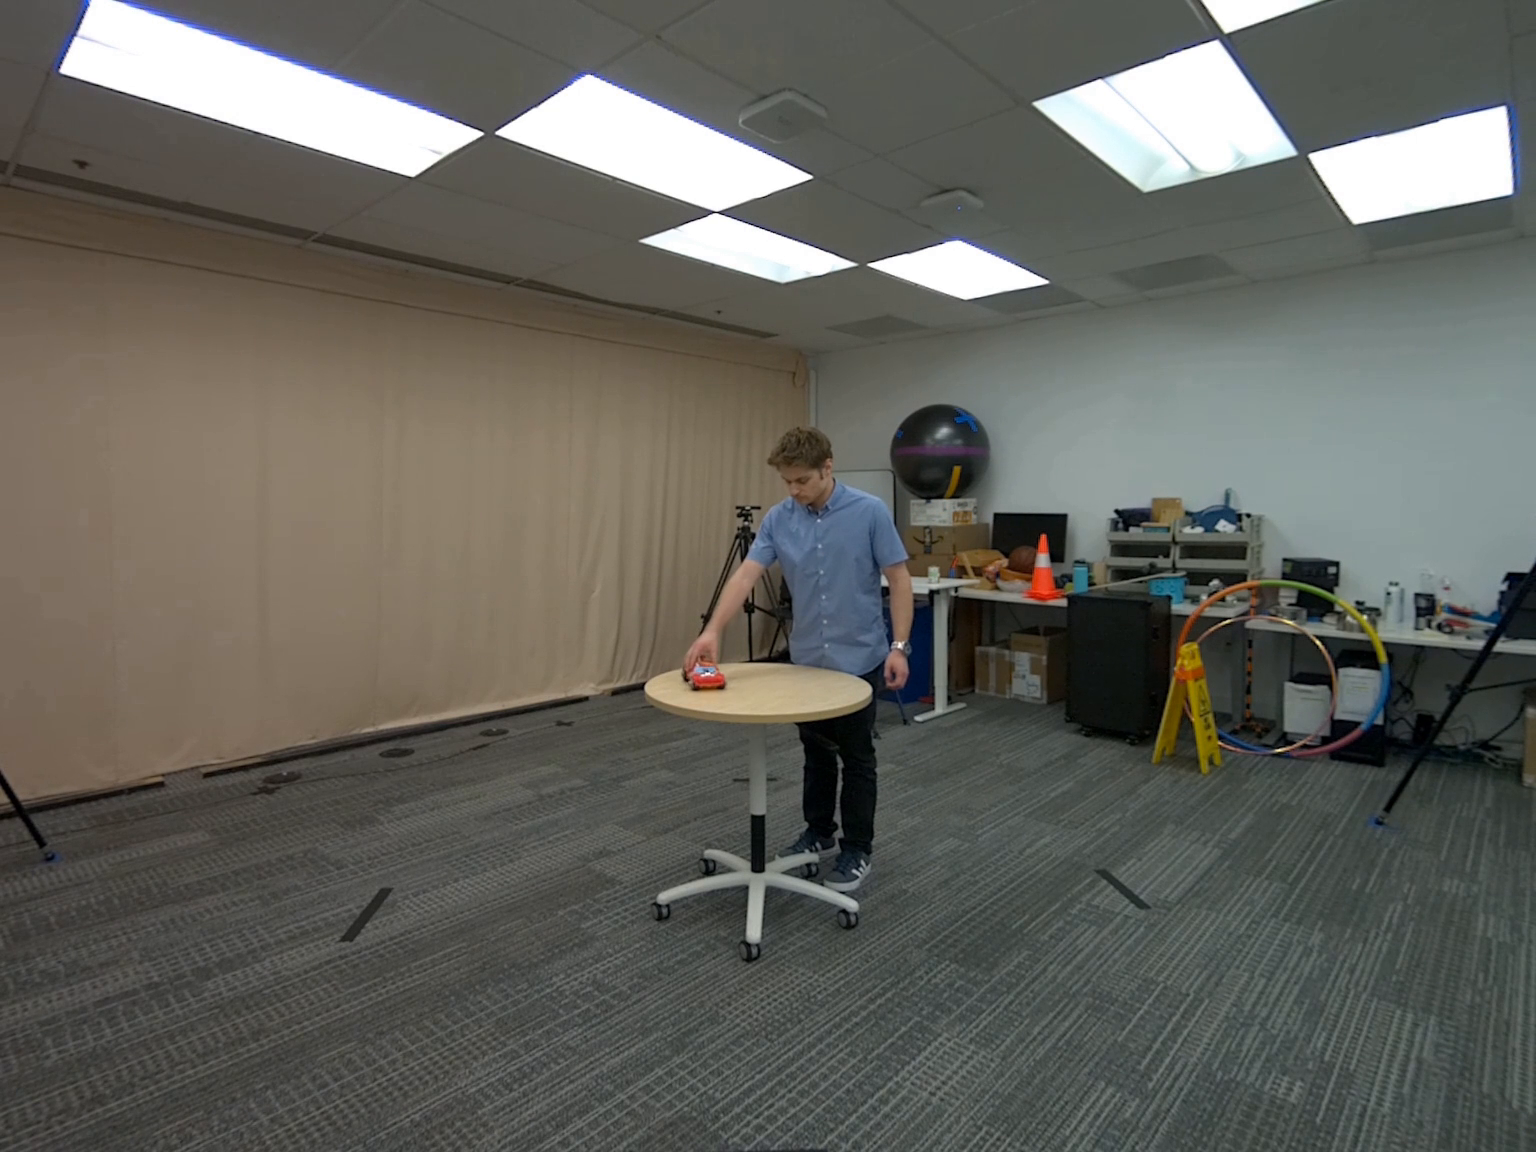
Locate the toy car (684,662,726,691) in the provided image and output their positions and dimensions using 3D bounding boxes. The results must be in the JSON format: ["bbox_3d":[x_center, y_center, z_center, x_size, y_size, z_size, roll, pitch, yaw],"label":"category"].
[{"bbox_3d":[-0.219,0.339,2.887,0.128,0.082,0.260,-2,16,-14],"label":"toy car"}]
